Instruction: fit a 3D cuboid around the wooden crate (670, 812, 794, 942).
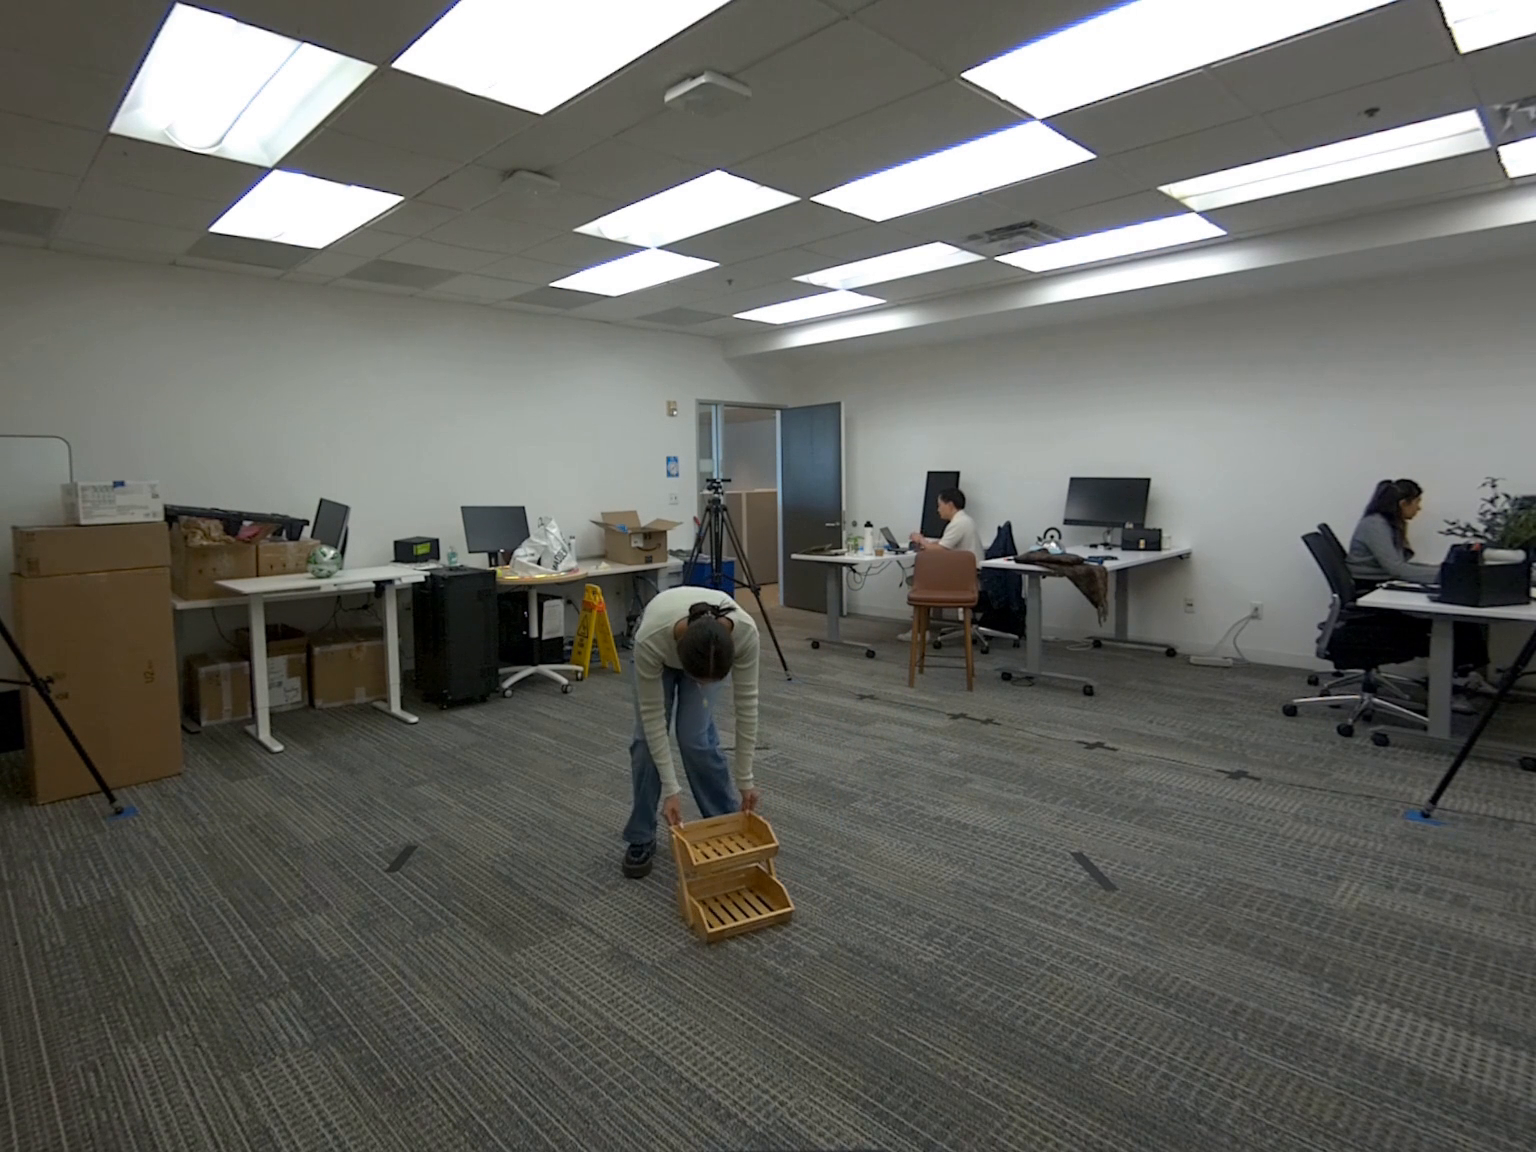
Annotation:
[{"bbox_3d":[-0.117,0.954,2.747,0.317,0.272,0.310,-3,5,-28],"label":"wooden crate"}]
